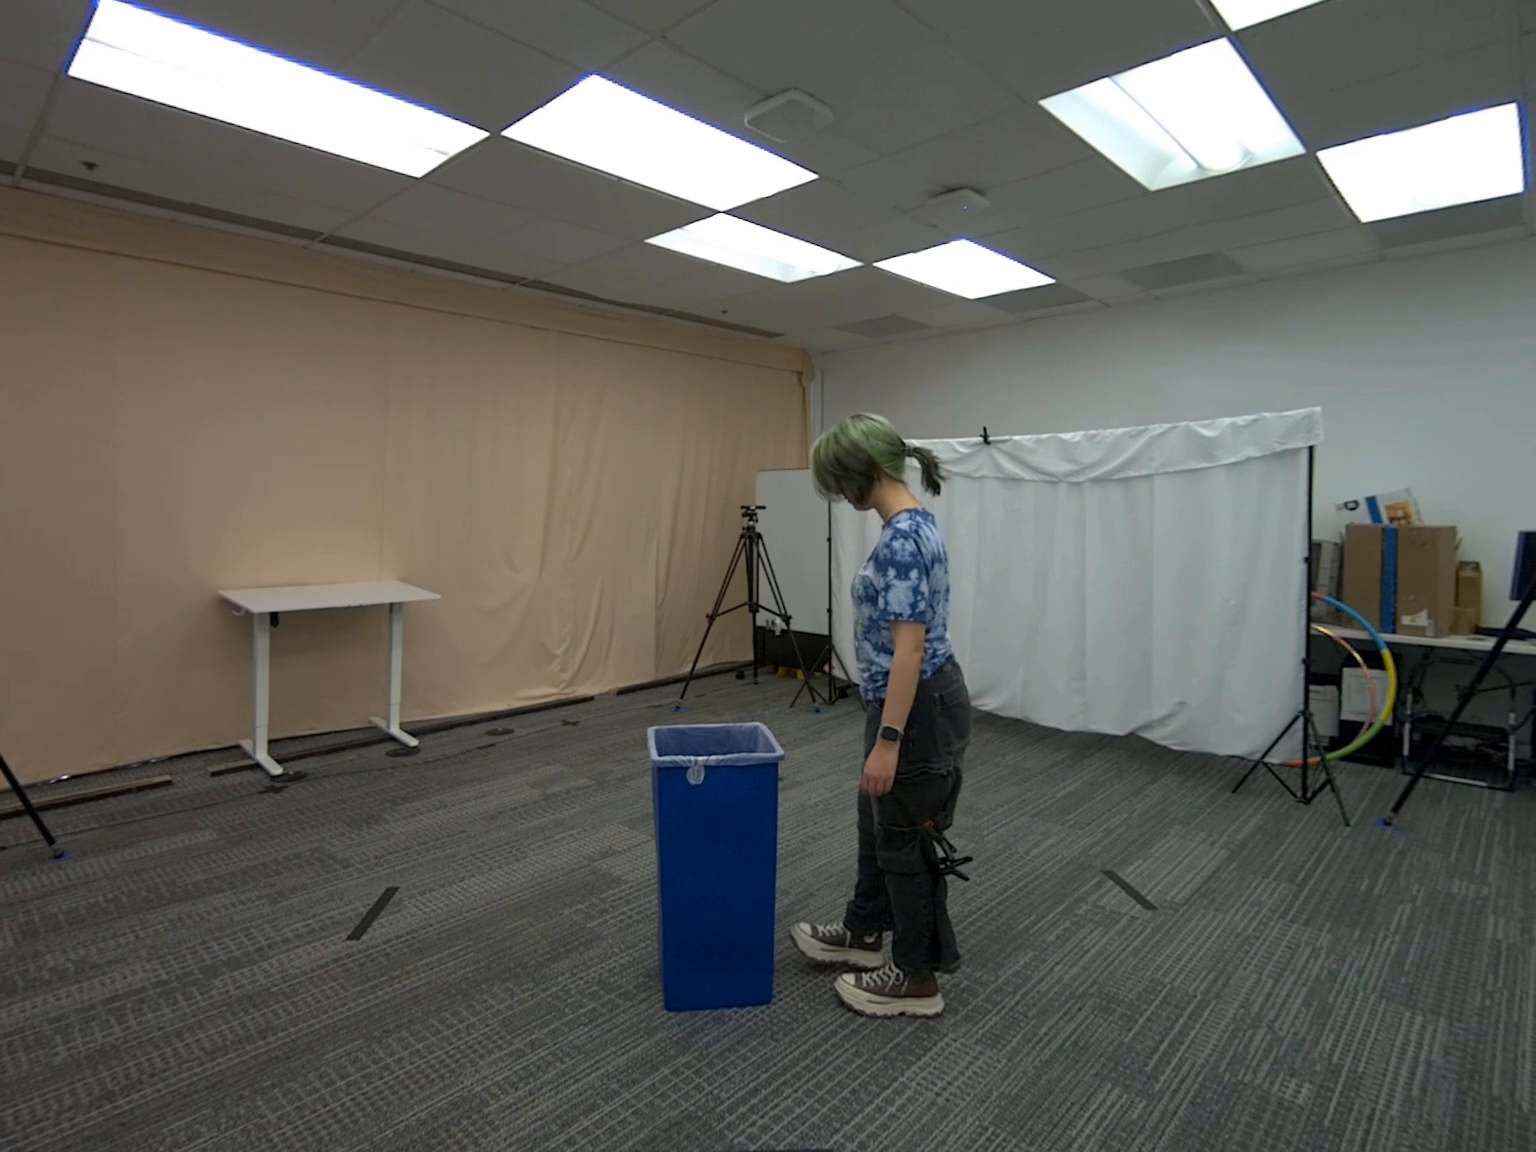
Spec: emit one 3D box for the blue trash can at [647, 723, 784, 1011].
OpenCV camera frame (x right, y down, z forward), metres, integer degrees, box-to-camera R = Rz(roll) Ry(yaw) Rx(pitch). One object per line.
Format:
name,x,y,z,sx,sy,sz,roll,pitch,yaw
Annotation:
blue trash can,-0.161,0.833,2.466,0.375,0.712,0.378,-1,3,-8
